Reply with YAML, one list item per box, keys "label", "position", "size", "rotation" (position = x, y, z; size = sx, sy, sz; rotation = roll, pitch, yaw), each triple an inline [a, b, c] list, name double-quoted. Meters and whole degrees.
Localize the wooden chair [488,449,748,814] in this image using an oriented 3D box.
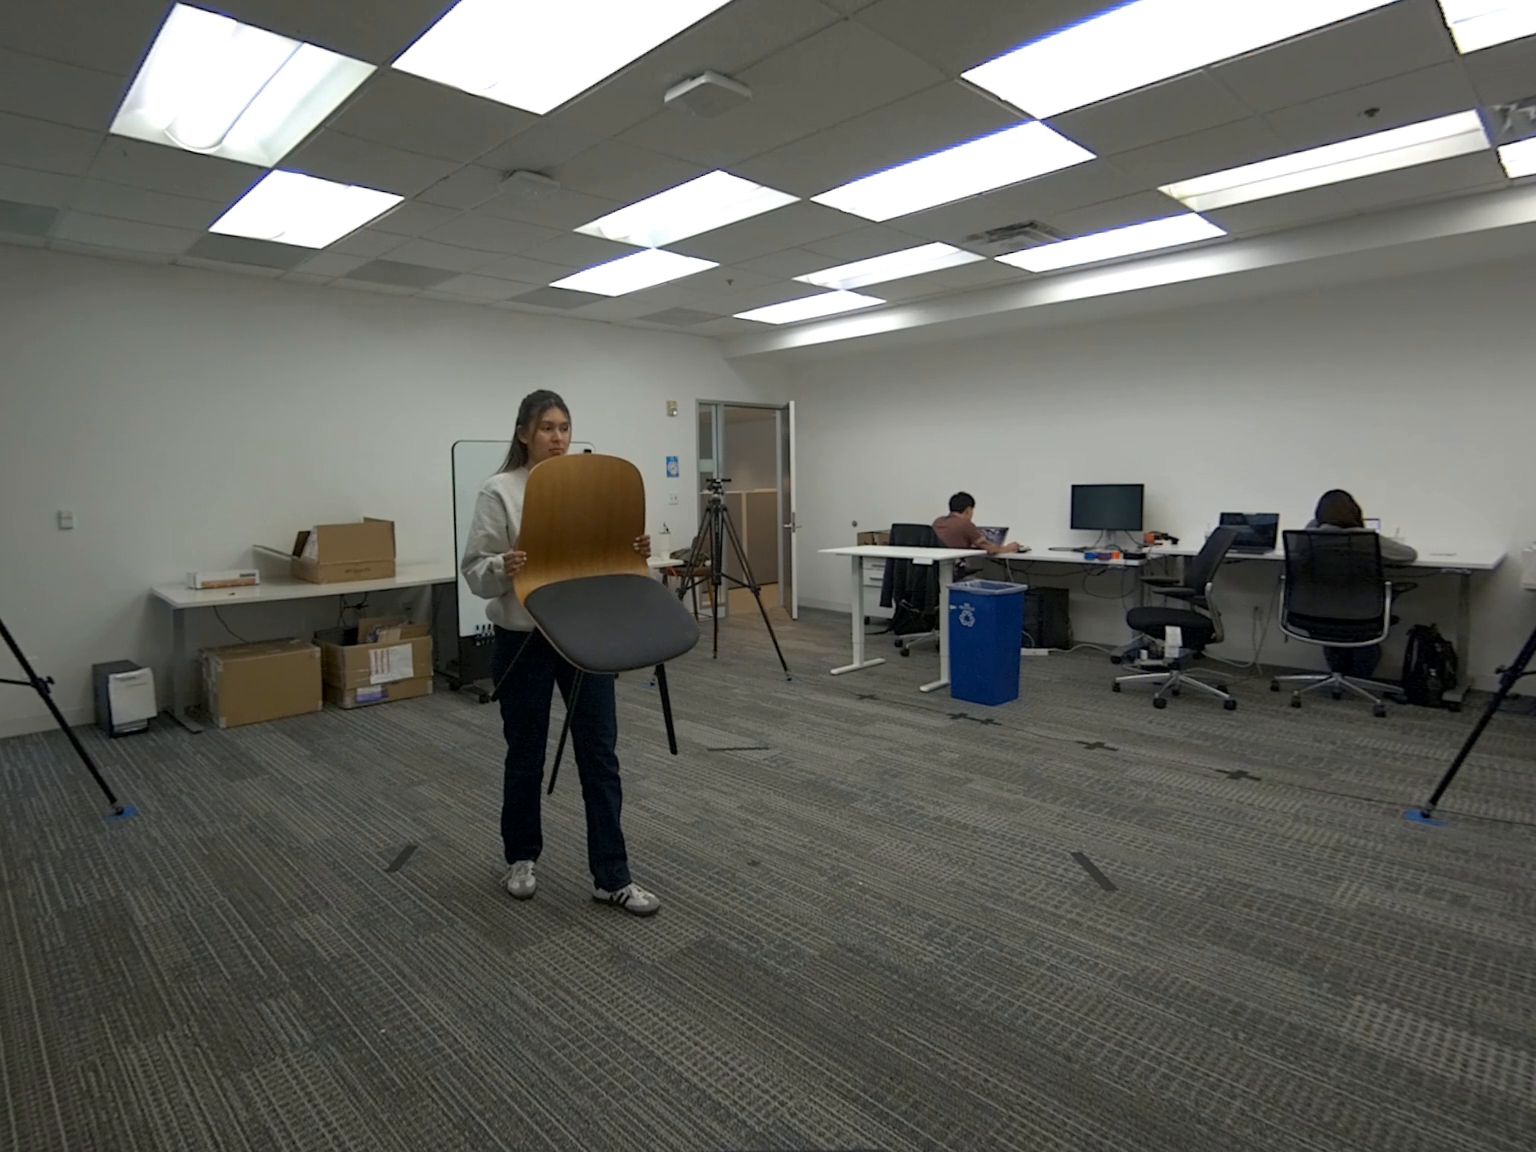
- label: "wooden chair"
  position: [-0.484, 0.130, 2.577]
  size: [0.466, 0.864, 0.544]
  rotation: [-8, 30, -38]
